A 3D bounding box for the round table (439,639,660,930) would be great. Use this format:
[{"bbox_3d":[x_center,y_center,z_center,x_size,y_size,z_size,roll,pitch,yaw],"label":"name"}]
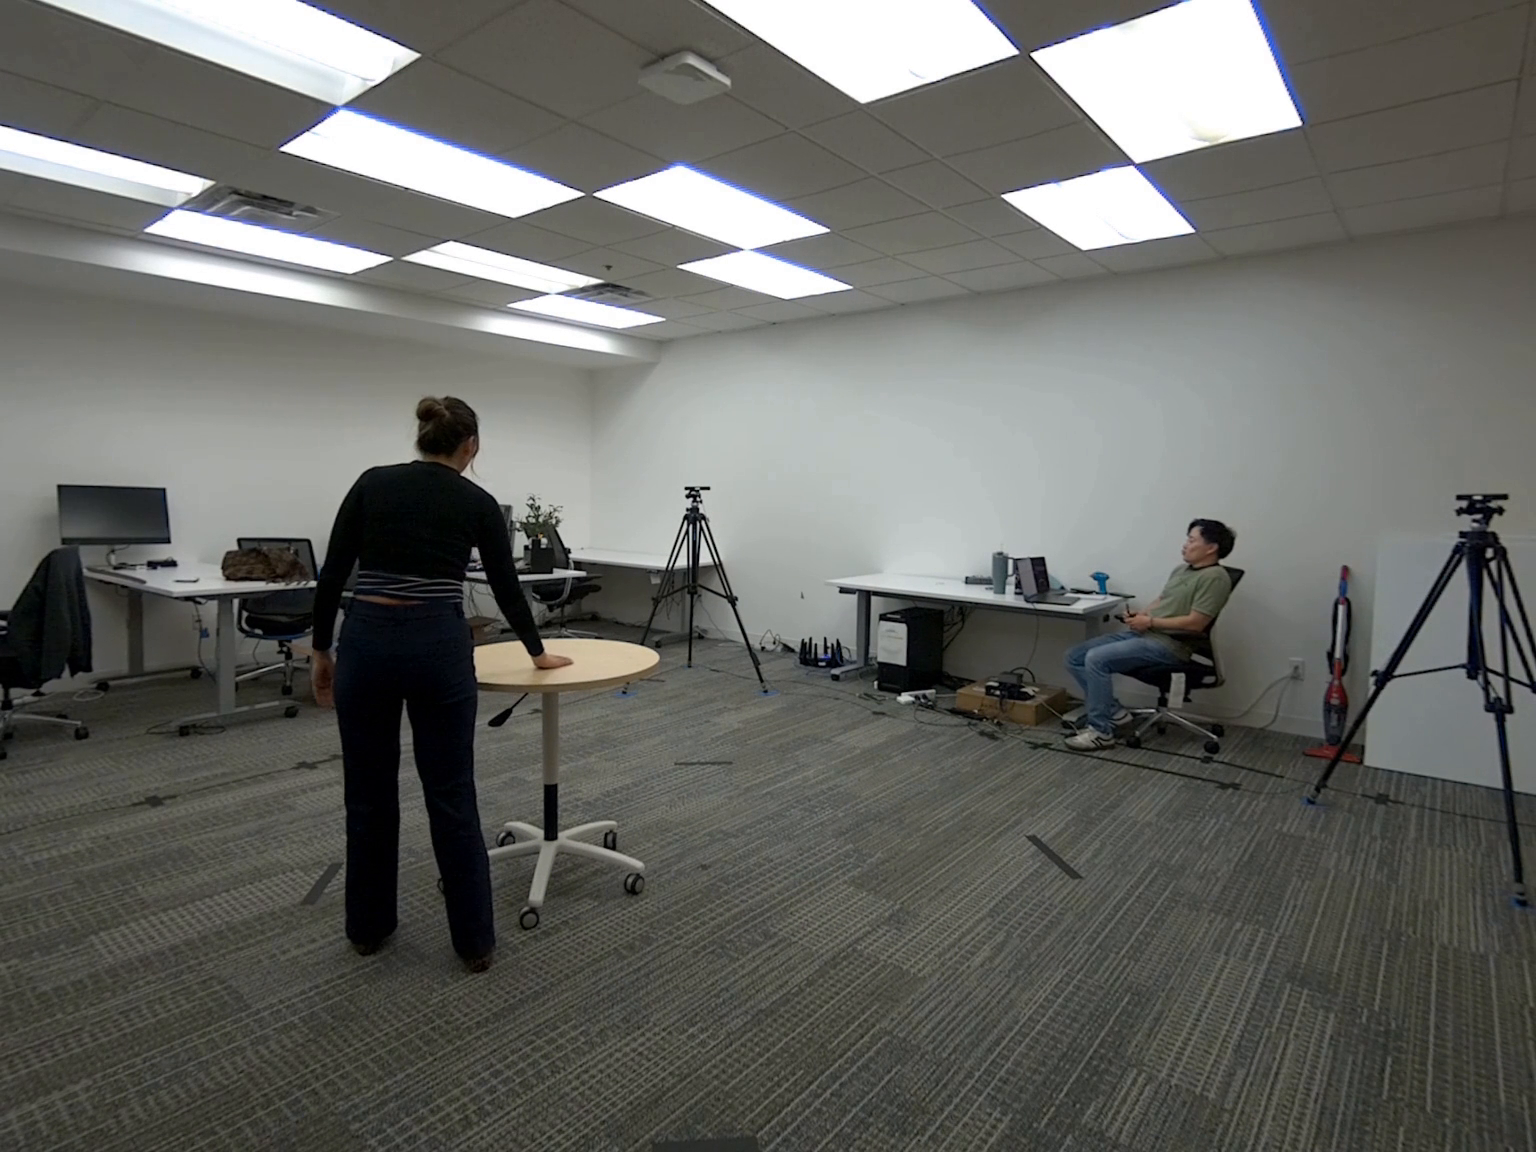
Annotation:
[{"bbox_3d":[-0.775,0.681,2.998,0.763,0.791,0.768,0,4,-2],"label":"round table"}]
